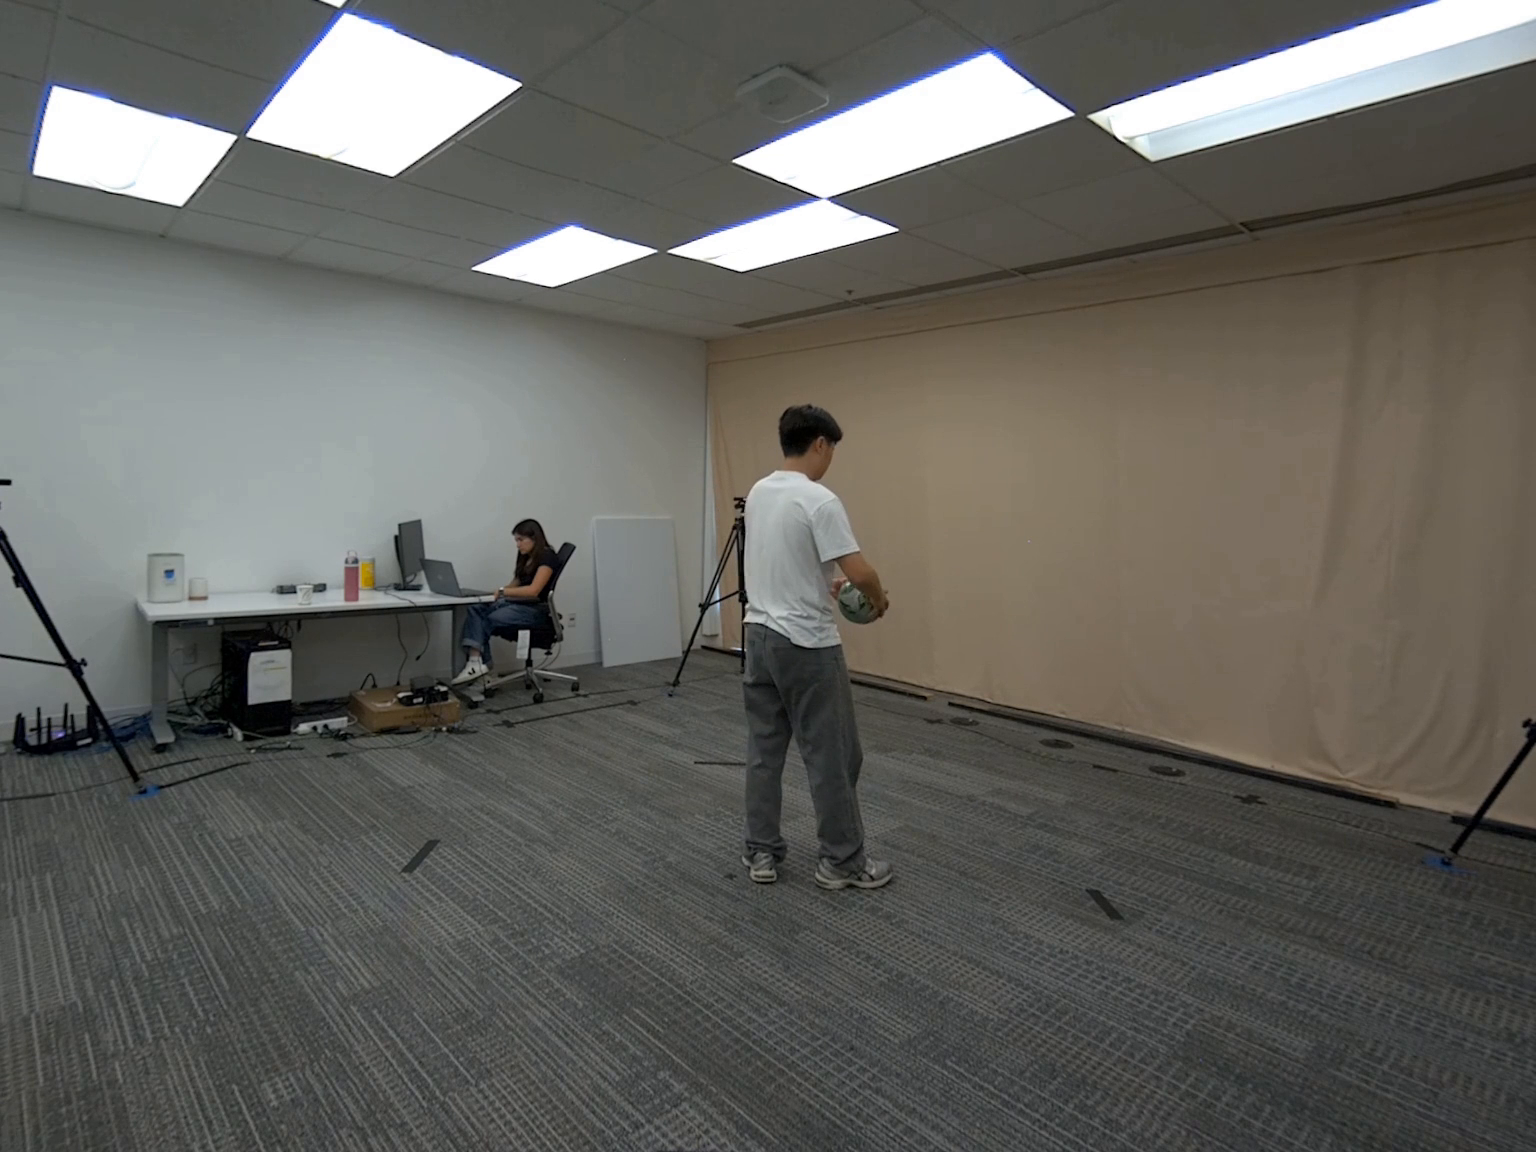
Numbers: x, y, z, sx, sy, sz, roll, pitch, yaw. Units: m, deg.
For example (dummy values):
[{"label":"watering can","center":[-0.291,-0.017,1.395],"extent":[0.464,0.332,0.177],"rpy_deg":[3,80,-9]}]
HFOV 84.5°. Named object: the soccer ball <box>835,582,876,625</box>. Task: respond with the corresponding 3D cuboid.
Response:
[{"label":"soccer ball","center":[0.364,0.095,3.267],"extent":[0.187,0.187,0.188],"rpy_deg":[1,4,-1]}]
